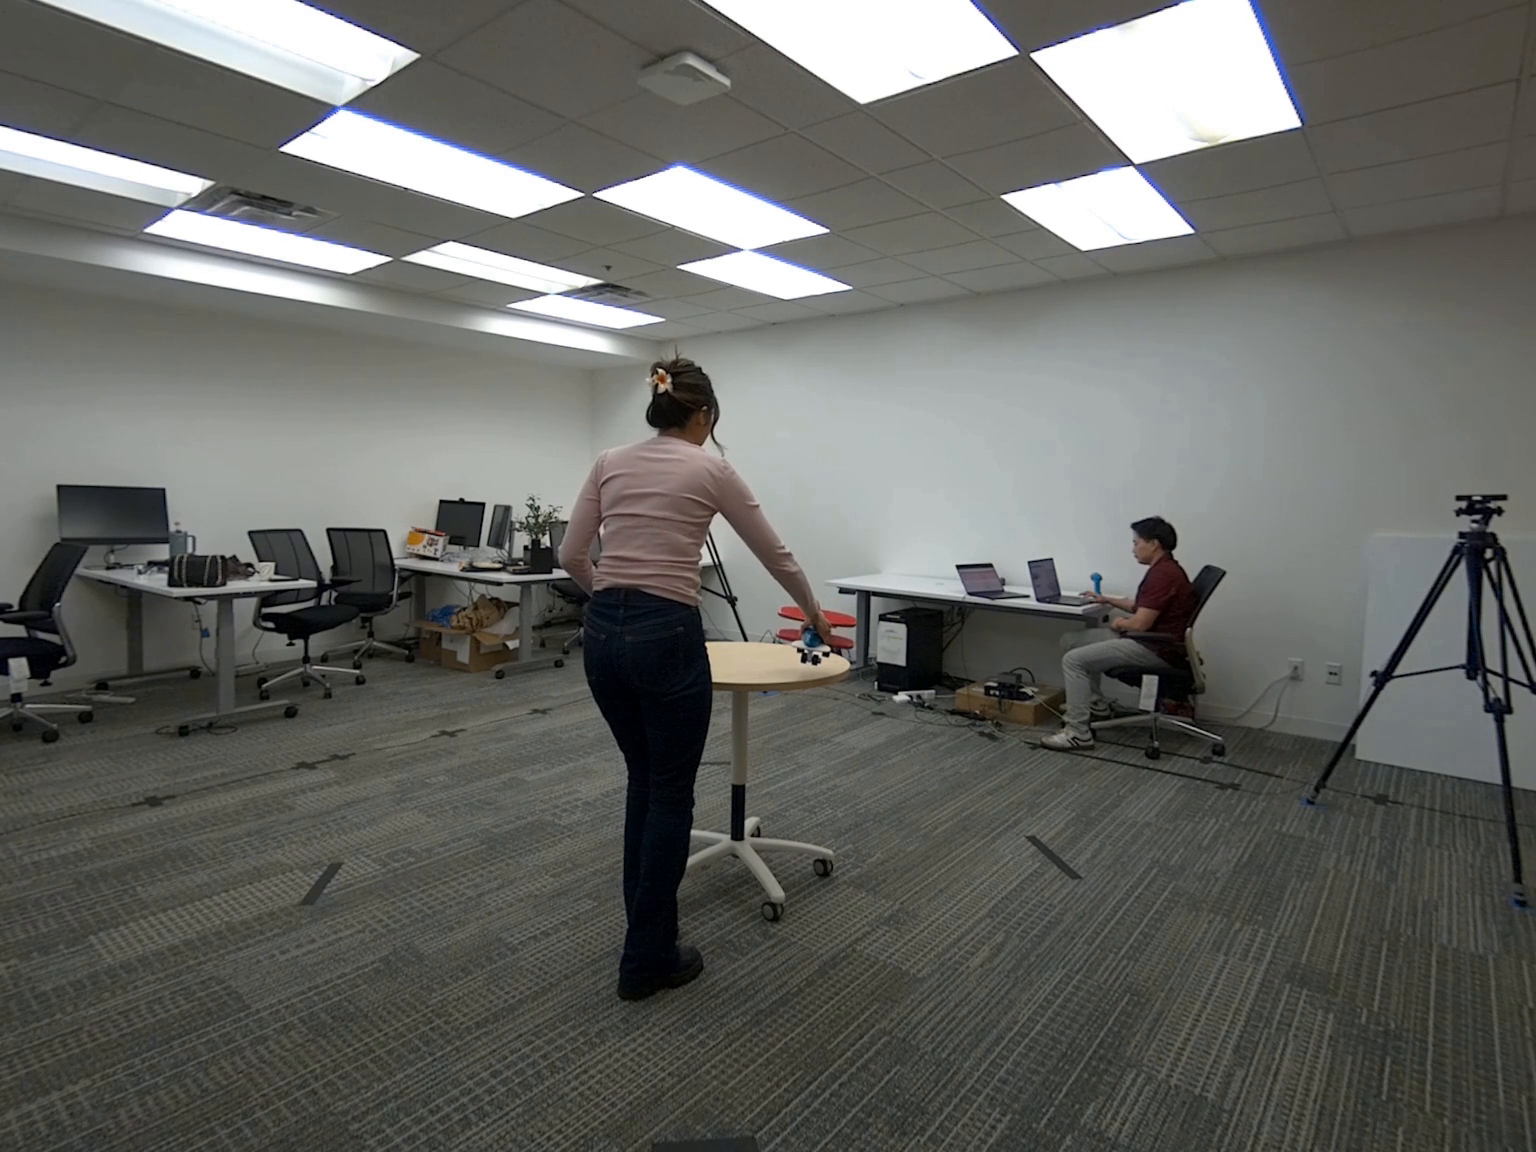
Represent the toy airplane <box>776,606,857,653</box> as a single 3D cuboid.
[{"bbox_3d":[0.167,0.192,2.728,0.246,0.156,0.265,5,5,-19],"label":"toy airplane"}]
